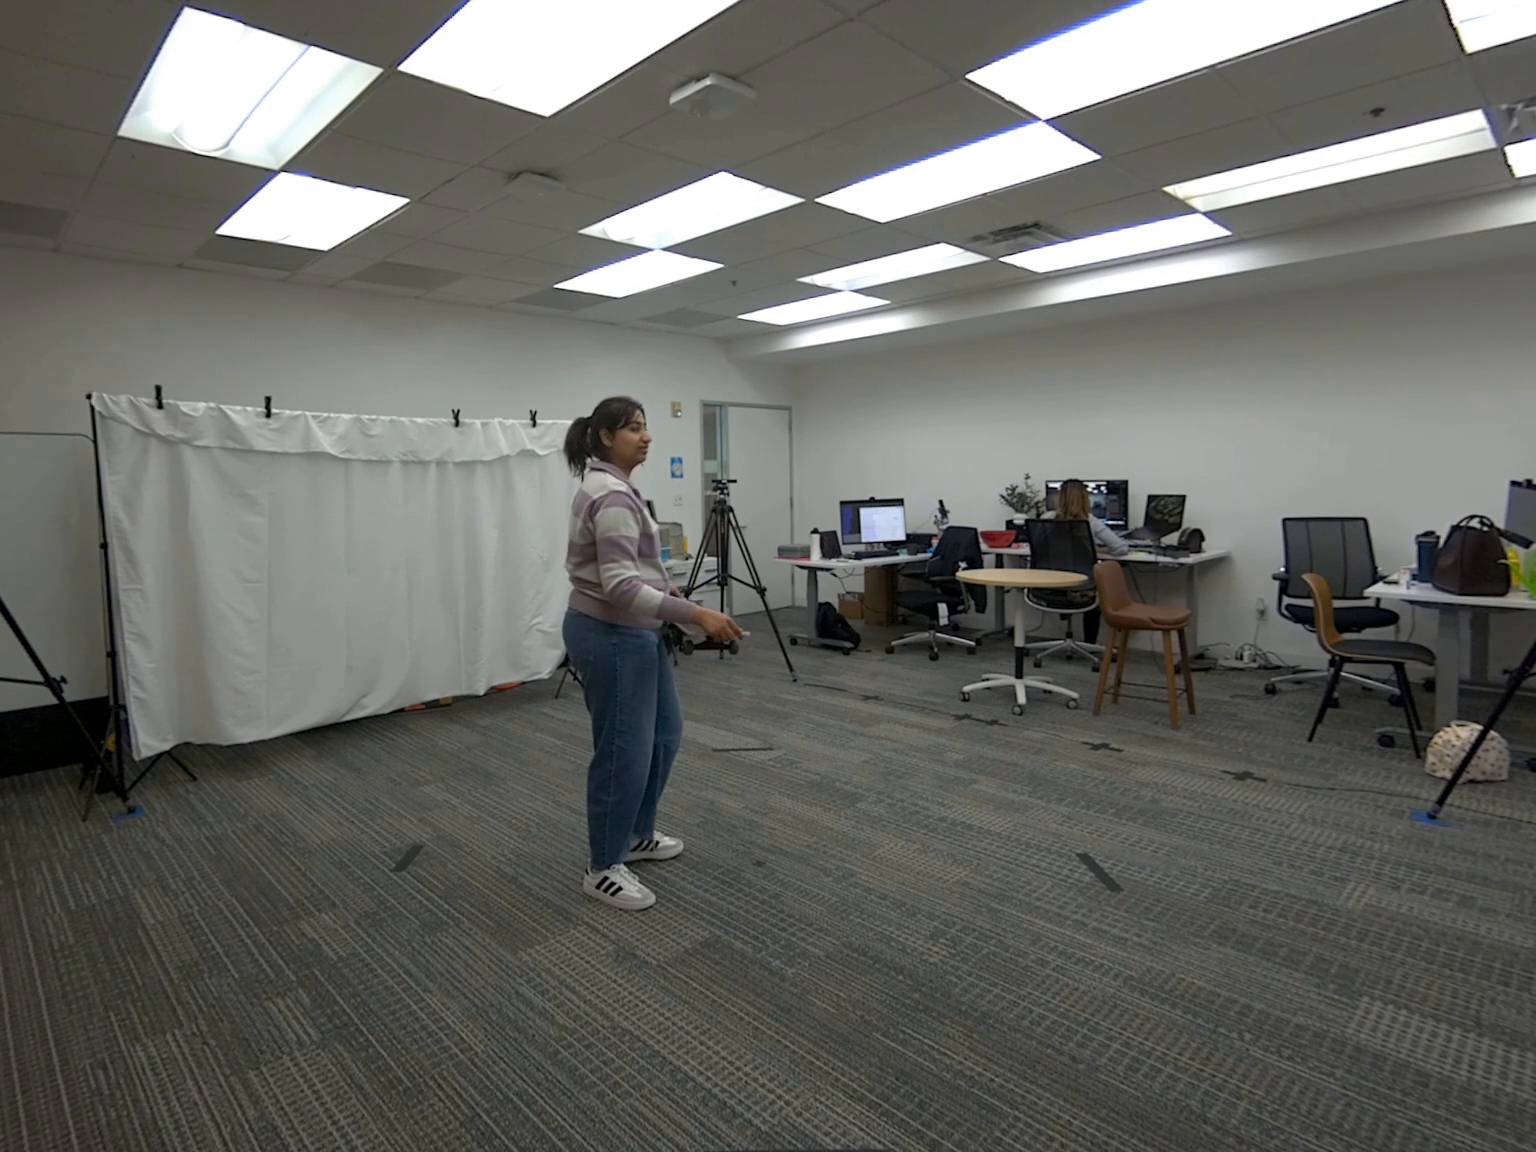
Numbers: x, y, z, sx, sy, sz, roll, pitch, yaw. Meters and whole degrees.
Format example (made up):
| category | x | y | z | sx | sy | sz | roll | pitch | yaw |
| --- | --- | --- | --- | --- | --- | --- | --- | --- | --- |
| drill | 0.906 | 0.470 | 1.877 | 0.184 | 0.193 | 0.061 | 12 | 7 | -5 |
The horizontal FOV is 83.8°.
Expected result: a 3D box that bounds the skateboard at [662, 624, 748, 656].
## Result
| category | x | y | z | sx | sy | sz | roll | pitch | yaw |
| --- | --- | --- | --- | --- | --- | --- | --- | --- | --- |
| skateboard | -0.252 | 0.179 | 2.960 | 0.190 | 0.110 | 0.801 | 6 | 4 | -18 |
